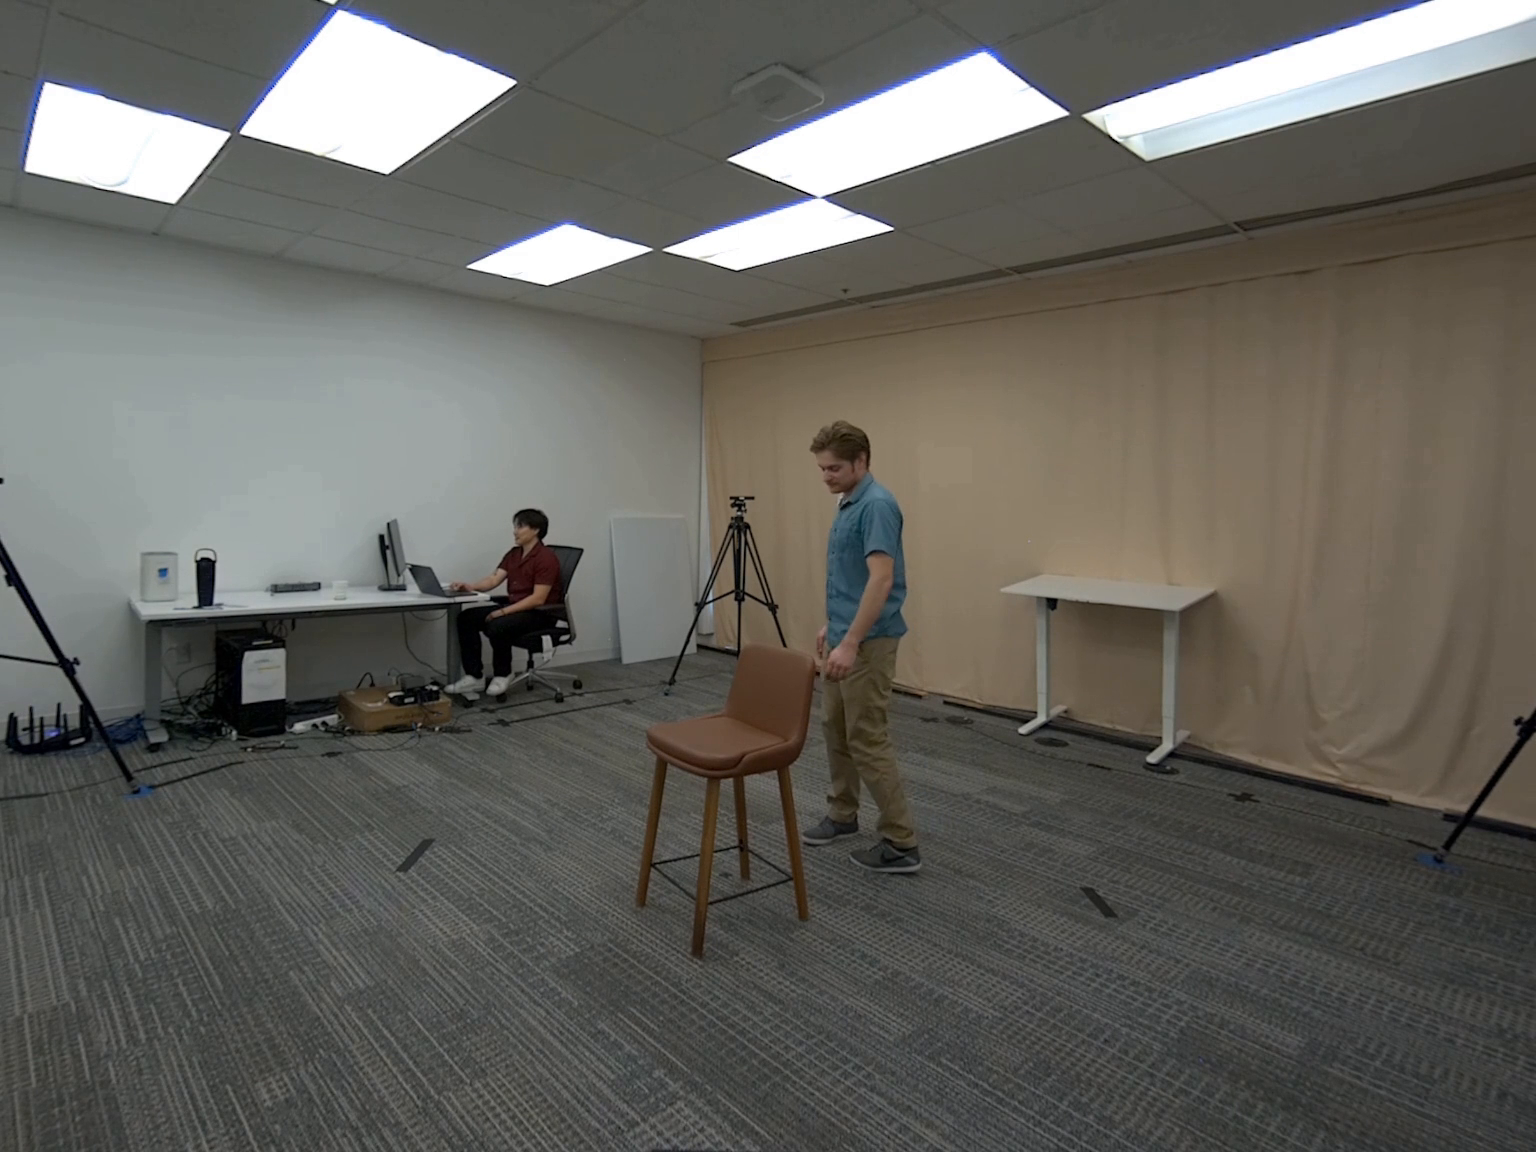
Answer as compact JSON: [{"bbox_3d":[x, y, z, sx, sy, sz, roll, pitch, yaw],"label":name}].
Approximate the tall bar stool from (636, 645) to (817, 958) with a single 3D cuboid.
[{"bbox_3d":[-0.142,0.698,2.799,0.457,0.888,0.467,1,3,-35],"label":"tall bar stool"}]
